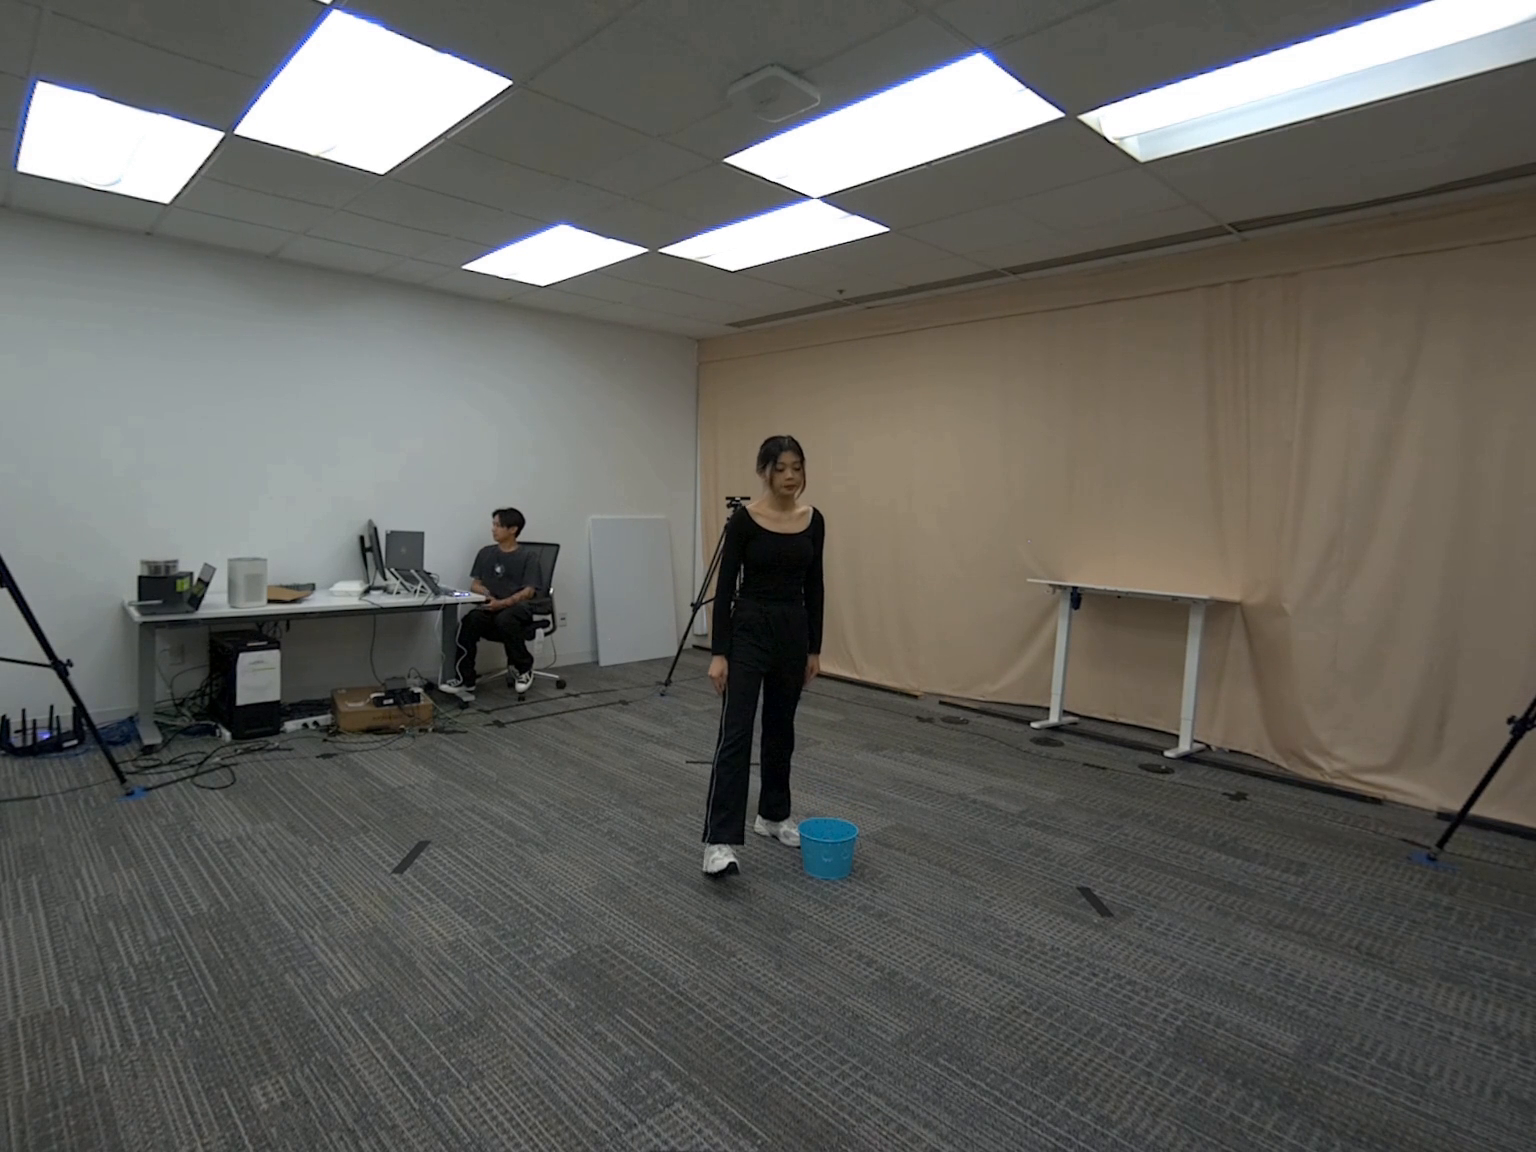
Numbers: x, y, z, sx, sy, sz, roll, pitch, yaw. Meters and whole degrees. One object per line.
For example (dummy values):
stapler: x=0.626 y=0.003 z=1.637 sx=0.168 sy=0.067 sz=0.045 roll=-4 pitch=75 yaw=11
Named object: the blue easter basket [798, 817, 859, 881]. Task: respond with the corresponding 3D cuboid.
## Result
blue easter basket: x=0.212 y=1.029 z=3.181 sx=0.243 sy=0.155 sz=0.244 roll=2 pitch=4 yaw=-1
